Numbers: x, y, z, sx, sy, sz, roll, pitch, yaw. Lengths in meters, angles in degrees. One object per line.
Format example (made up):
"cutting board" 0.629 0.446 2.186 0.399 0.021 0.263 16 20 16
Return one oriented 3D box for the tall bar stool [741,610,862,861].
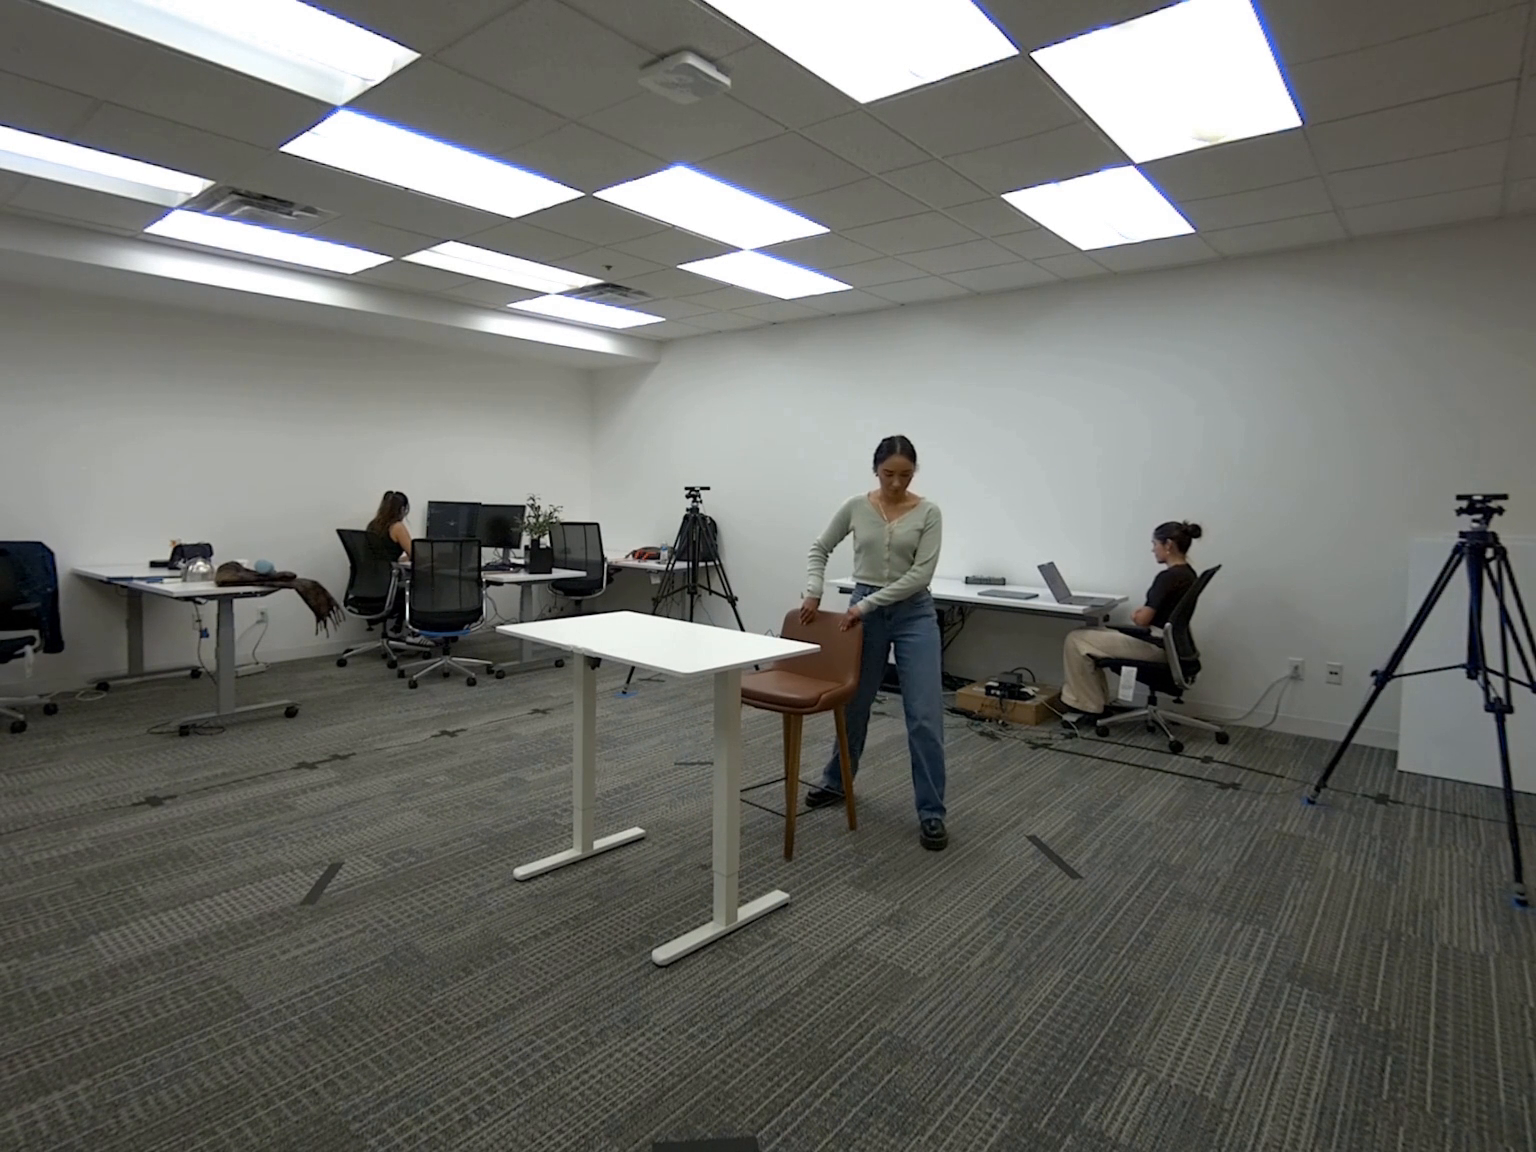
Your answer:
"tall bar stool" 0.088 0.593 3.459 0.472 0.889 0.453 4 2 44
